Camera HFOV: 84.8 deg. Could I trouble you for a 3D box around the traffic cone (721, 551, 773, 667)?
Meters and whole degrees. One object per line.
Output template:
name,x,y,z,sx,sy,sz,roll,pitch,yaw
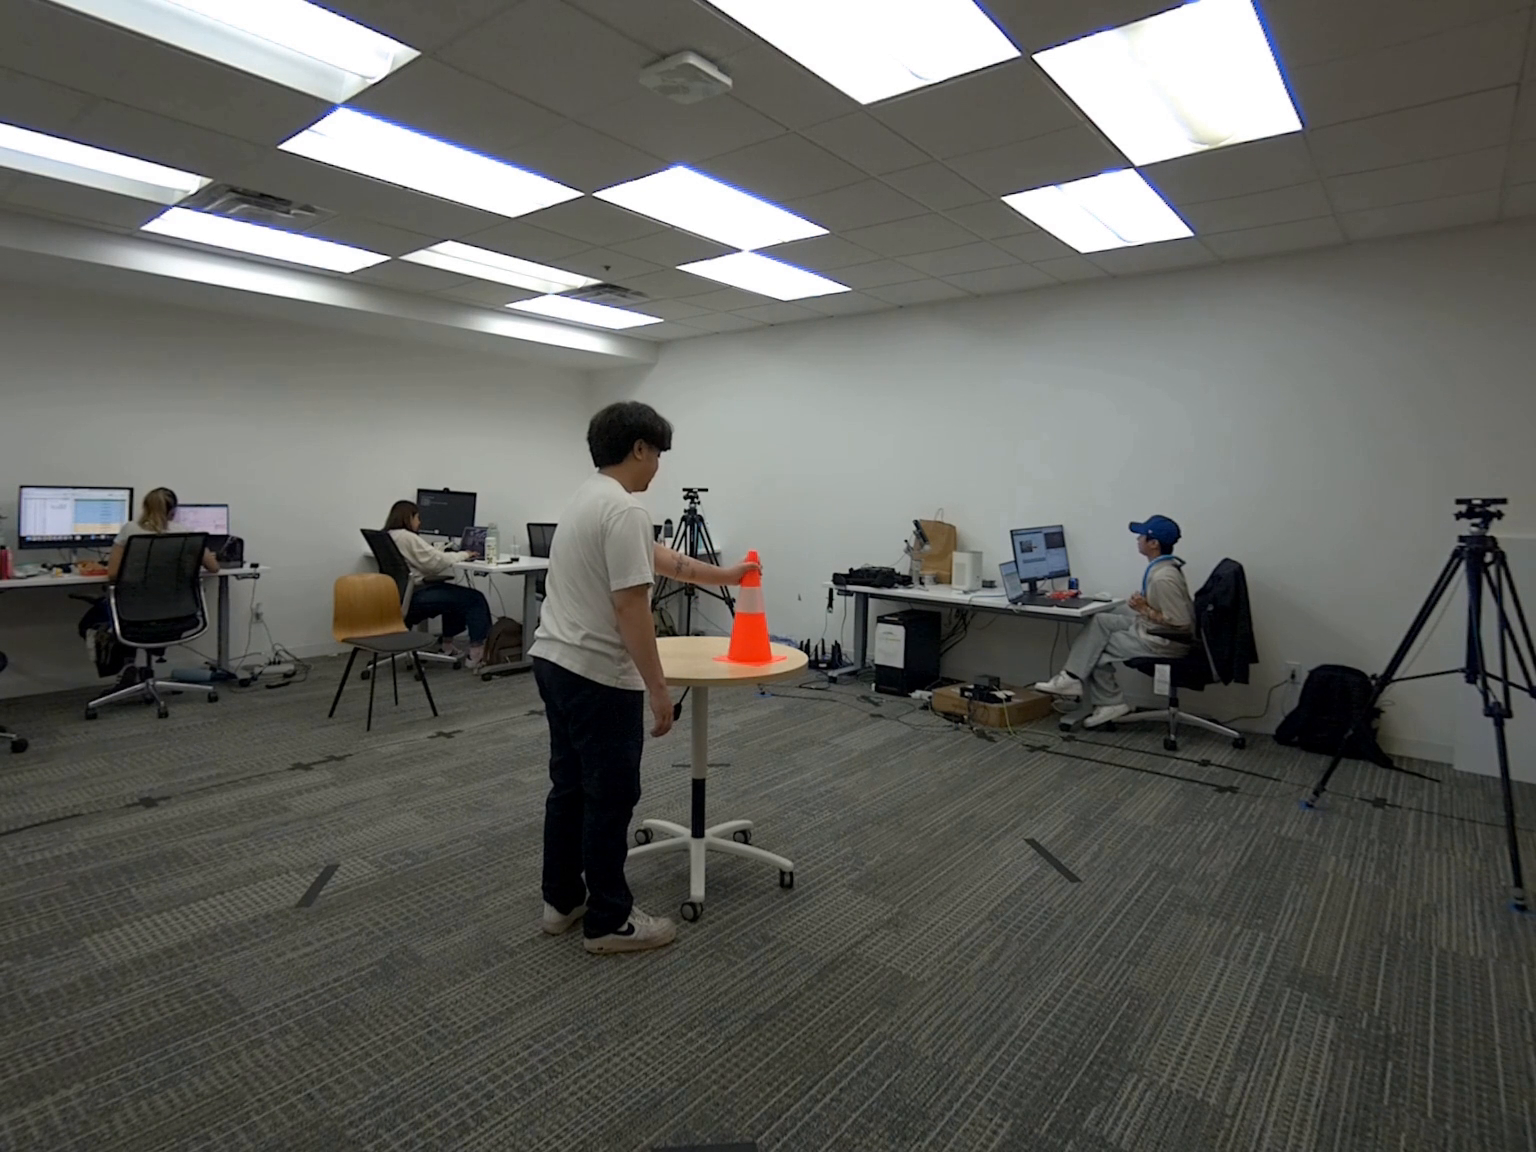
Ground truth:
traffic cone,-0.064,0.101,2.967,0.211,0.382,0.198,5,5,28
